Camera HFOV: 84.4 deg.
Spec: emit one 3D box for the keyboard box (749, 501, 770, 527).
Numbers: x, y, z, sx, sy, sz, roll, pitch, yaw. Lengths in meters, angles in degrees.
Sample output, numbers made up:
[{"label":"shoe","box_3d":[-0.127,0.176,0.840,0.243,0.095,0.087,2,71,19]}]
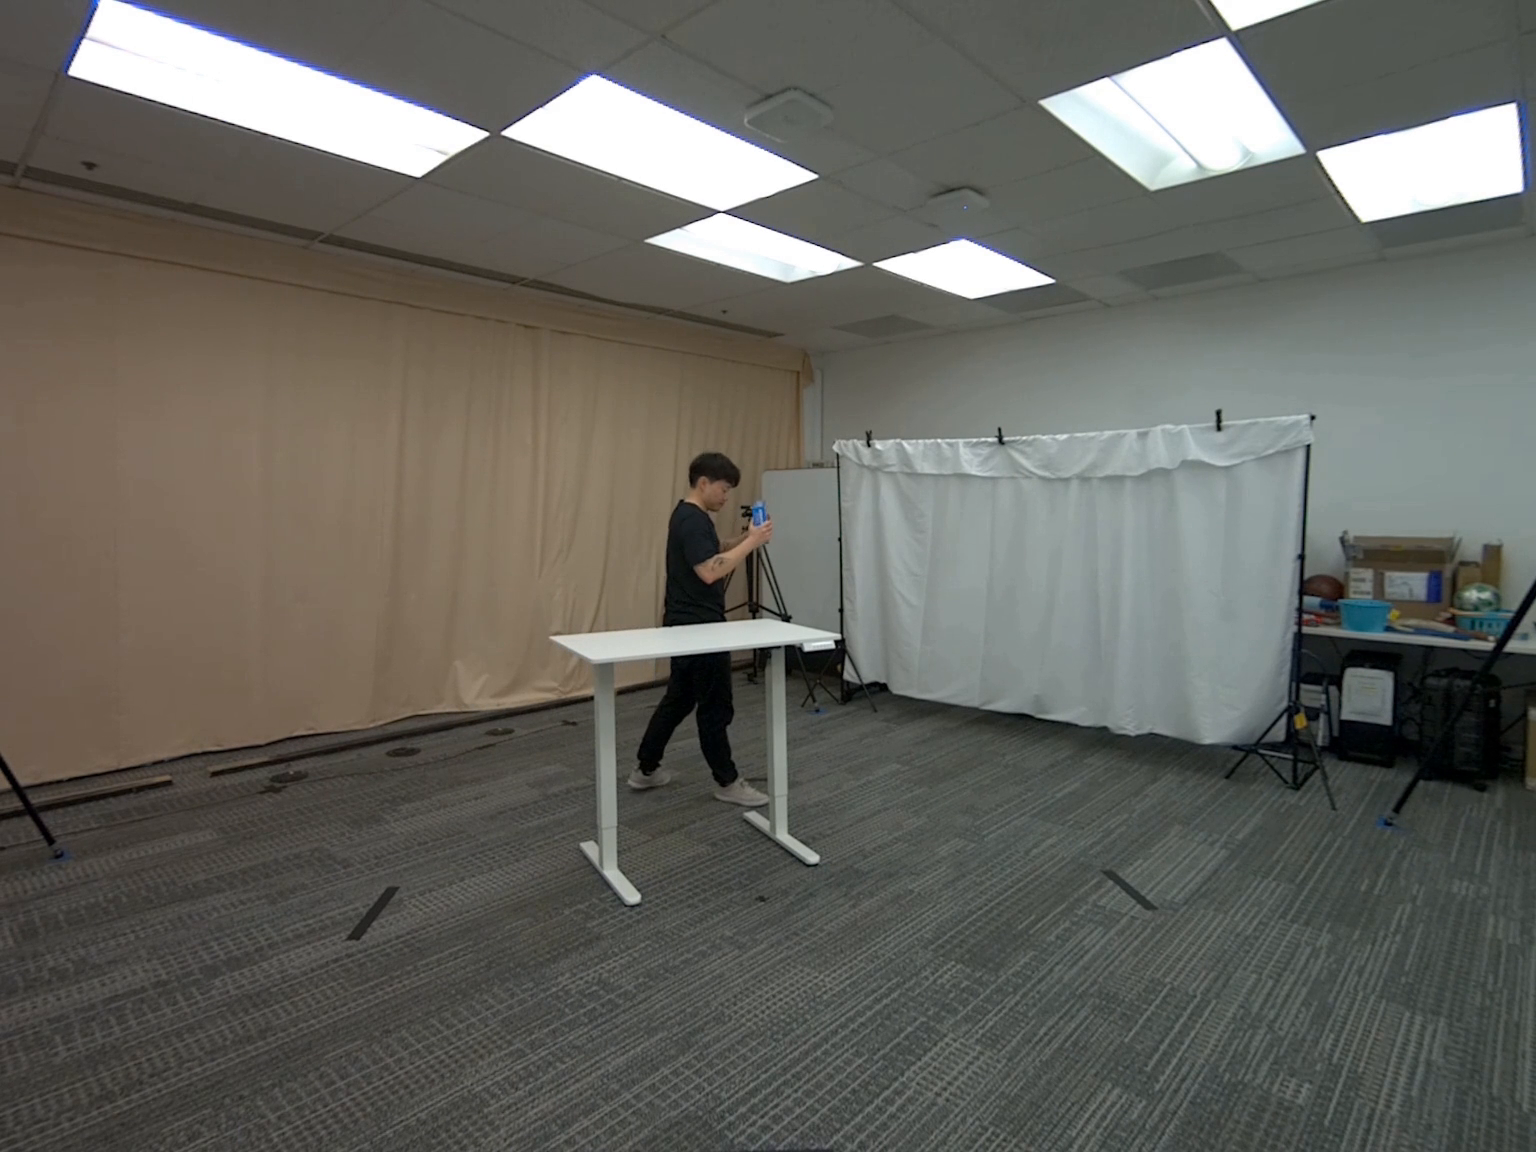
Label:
[{"label":"keyboard box","box_3d":[-0.038,-0.260,4.019,0.059,0.175,0.437,-1,7,0]}]
